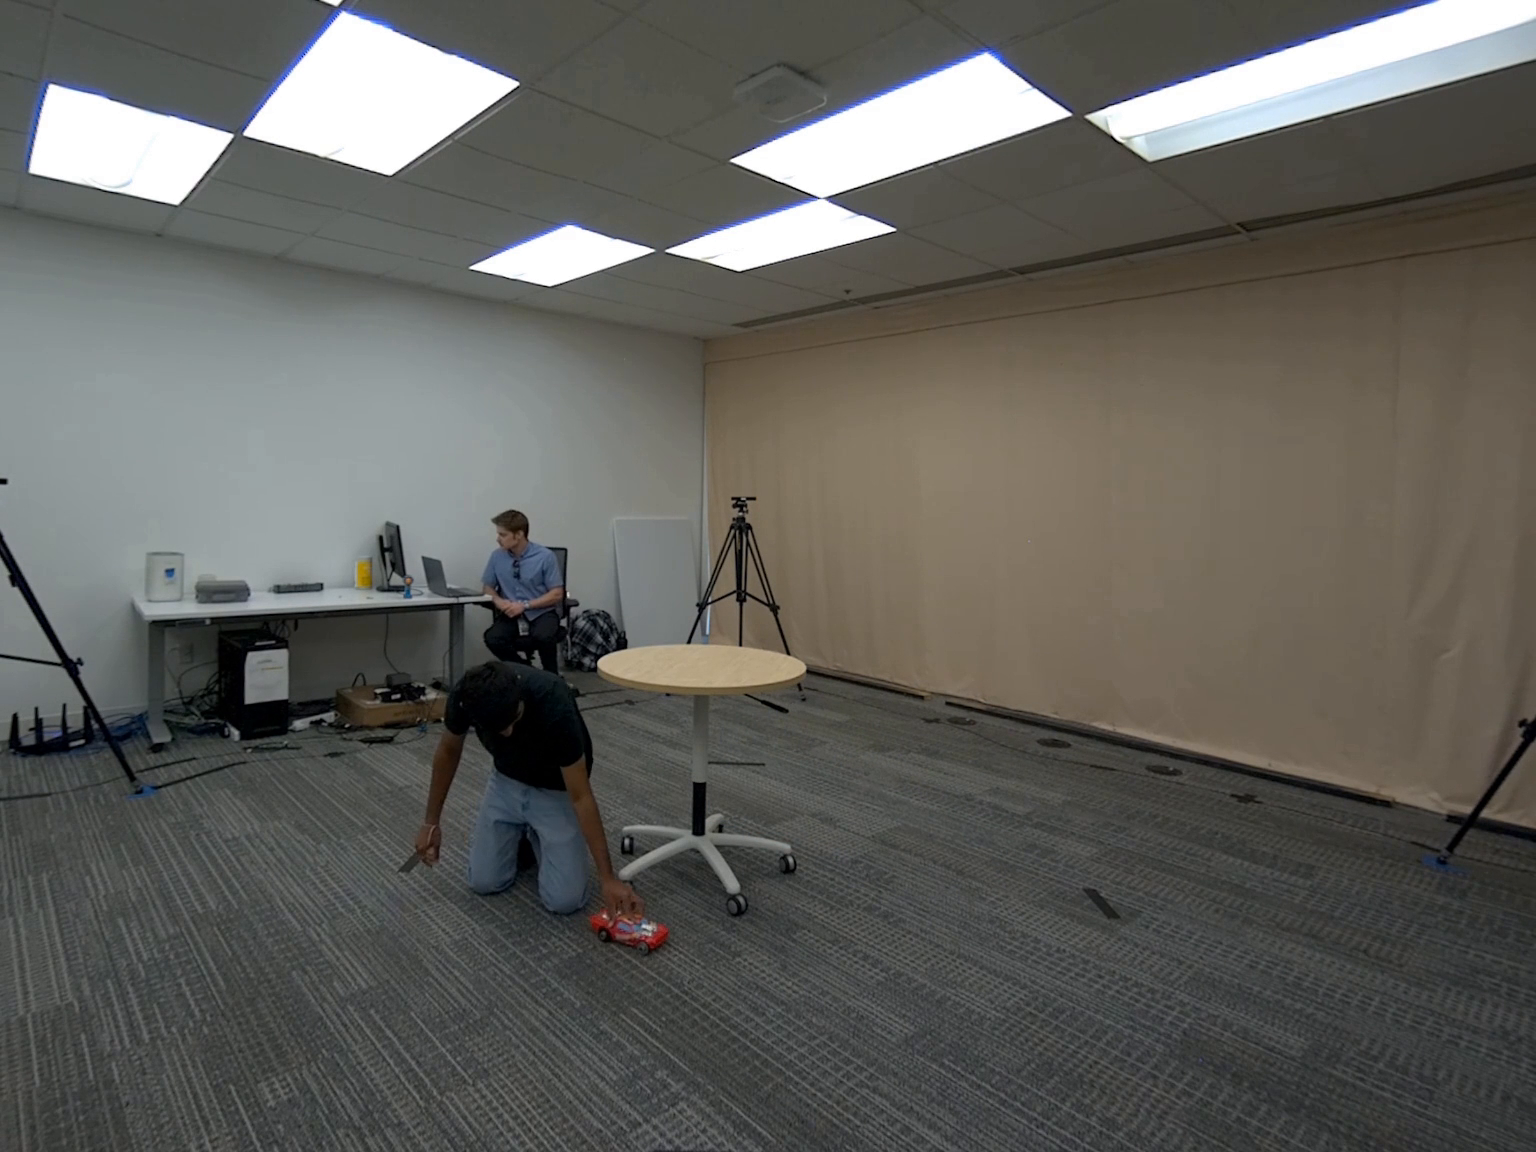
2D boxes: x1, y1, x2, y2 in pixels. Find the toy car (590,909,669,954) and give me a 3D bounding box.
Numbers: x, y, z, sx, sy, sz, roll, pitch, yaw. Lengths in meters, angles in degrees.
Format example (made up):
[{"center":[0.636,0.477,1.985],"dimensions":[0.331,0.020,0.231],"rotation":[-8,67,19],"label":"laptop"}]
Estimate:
[{"center":[-0.440,1.107,2.647],"dimensions":[0.260,0.083,0.128],"rotation":[15,12,25],"label":"toy car"}]
